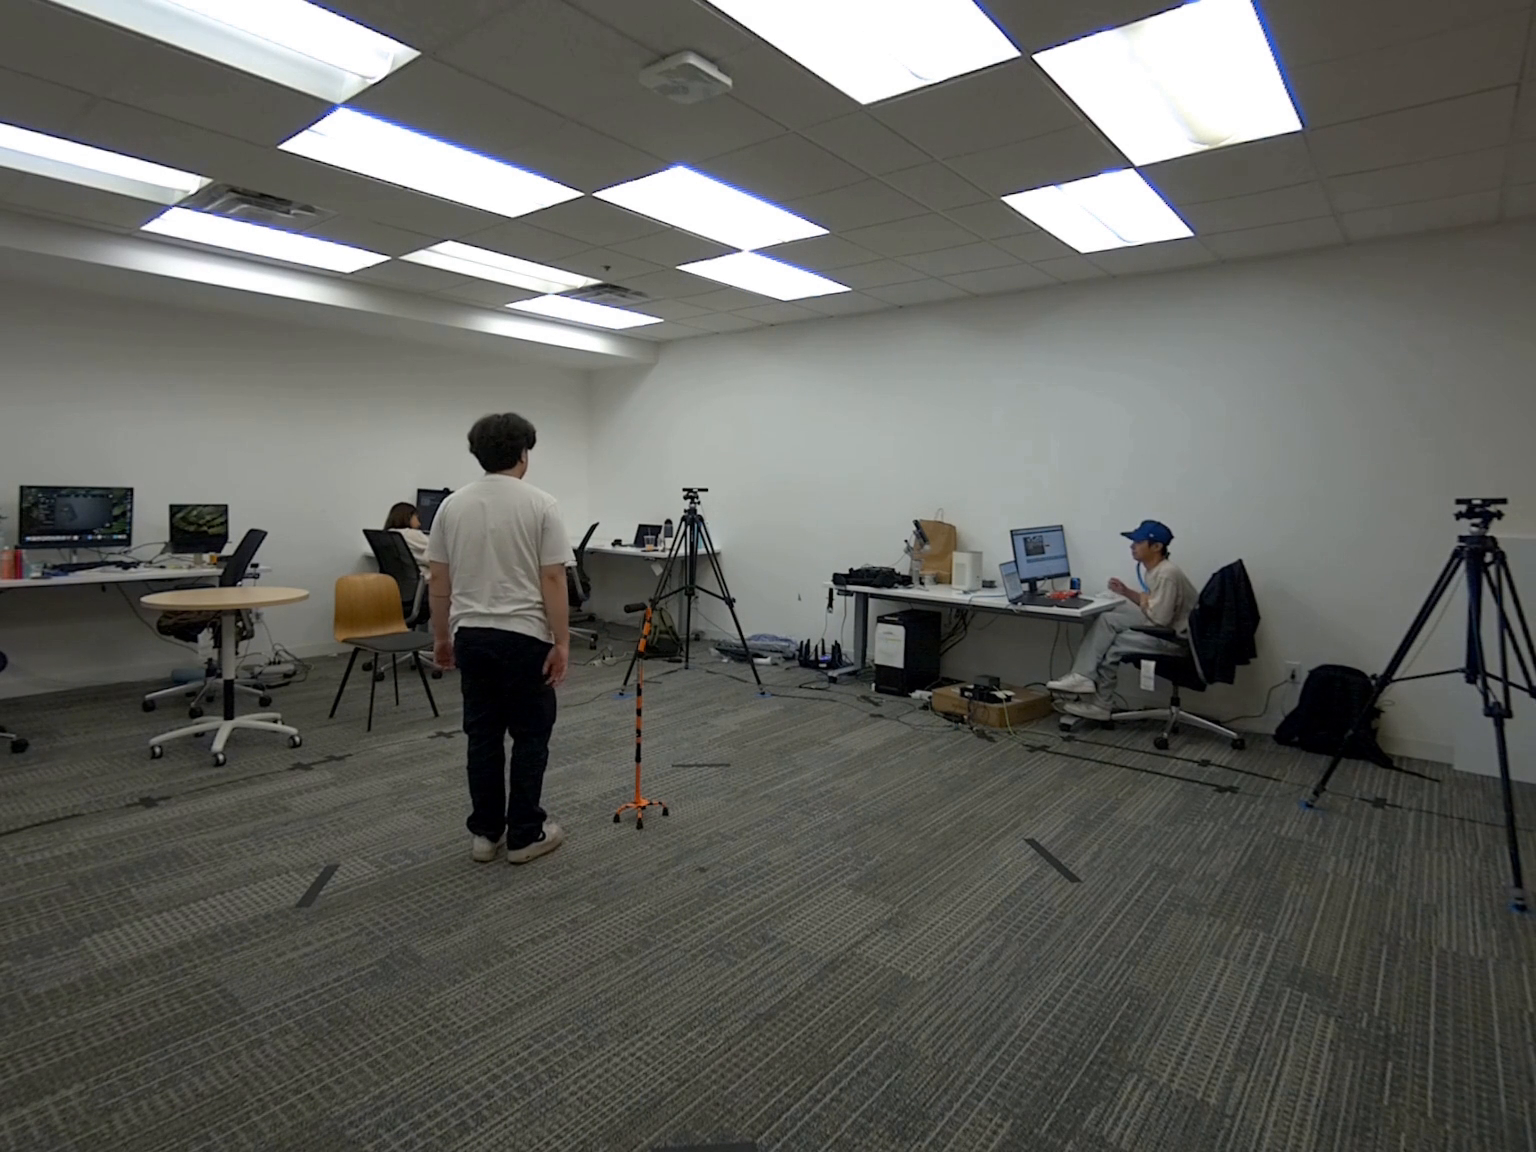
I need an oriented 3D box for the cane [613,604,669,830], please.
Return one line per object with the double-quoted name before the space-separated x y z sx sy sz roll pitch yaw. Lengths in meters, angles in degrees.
"cane" -0.538 0.568 3.565 0.156 0.906 0.200 2 3 34
